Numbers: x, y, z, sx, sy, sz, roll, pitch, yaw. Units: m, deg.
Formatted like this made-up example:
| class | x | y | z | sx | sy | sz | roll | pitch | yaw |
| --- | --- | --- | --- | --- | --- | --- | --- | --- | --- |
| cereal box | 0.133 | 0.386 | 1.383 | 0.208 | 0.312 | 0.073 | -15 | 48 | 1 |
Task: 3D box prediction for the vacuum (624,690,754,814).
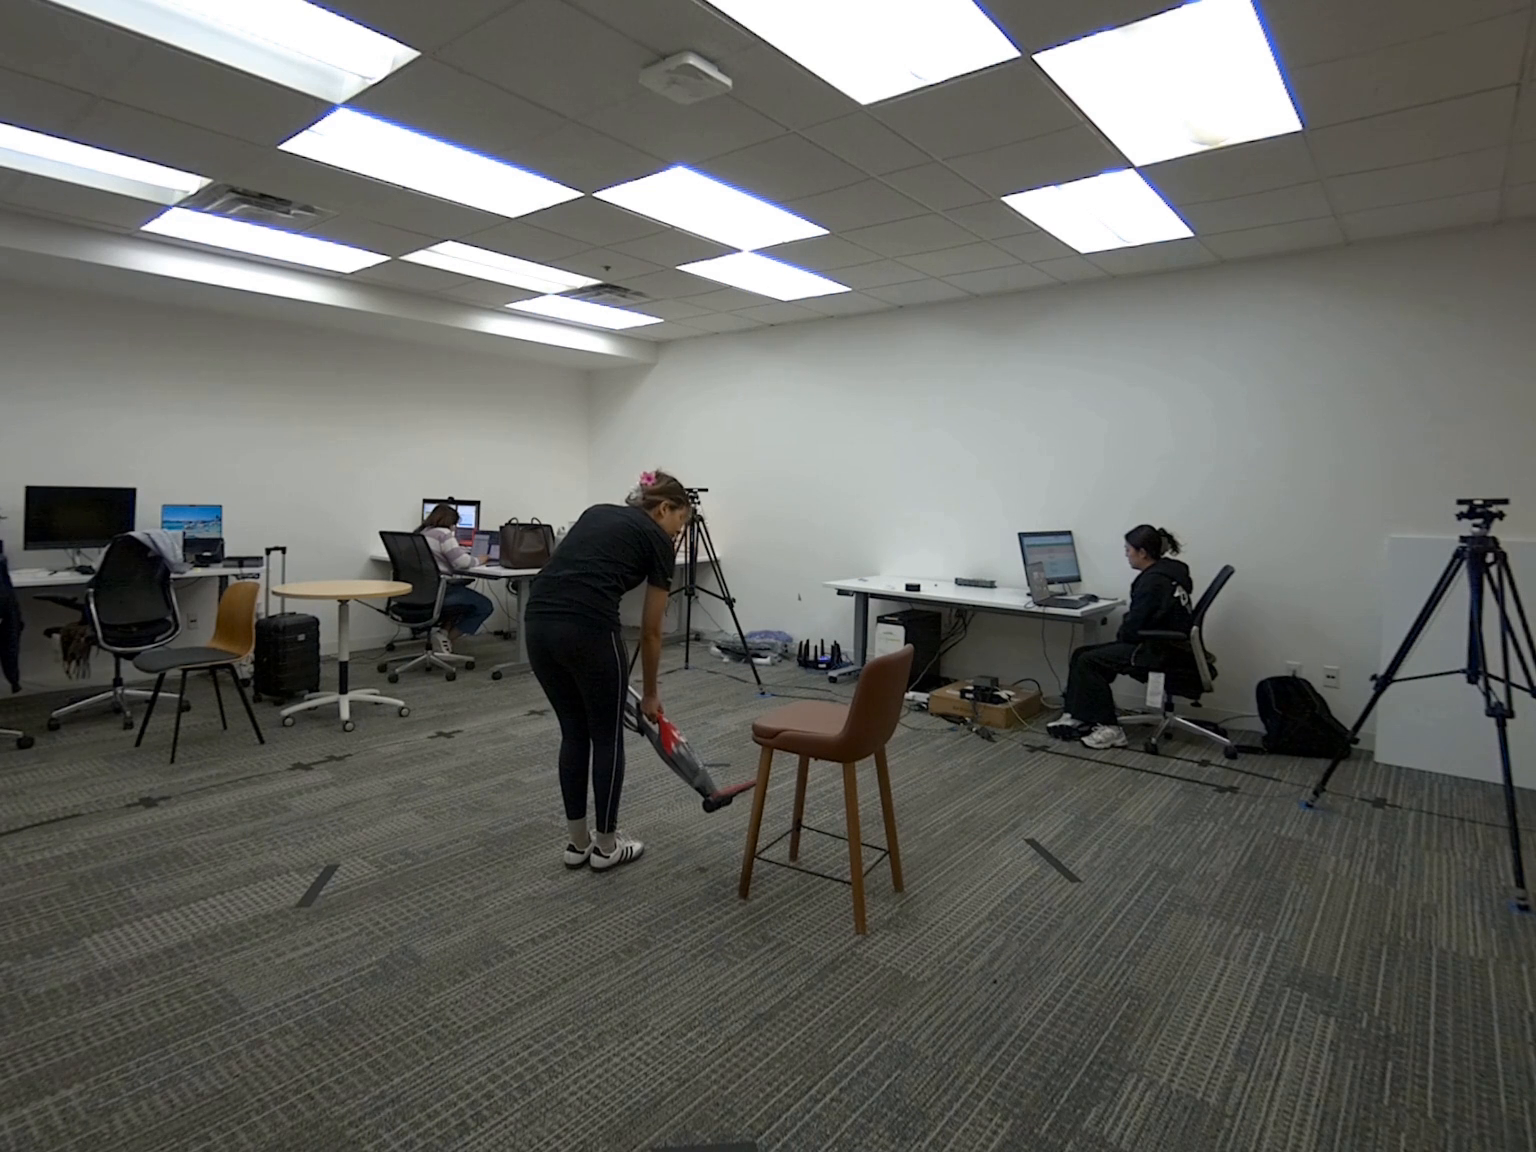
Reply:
| class | x | y | z | sx | sy | sz | roll | pitch | yaw |
| --- | --- | --- | --- | --- | --- | --- | --- | --- | --- |
| vacuum | -0.523 | 0.531 | 3.356 | 1.088 | 0.143 | 0.245 | 38 | 20 | 28 |
